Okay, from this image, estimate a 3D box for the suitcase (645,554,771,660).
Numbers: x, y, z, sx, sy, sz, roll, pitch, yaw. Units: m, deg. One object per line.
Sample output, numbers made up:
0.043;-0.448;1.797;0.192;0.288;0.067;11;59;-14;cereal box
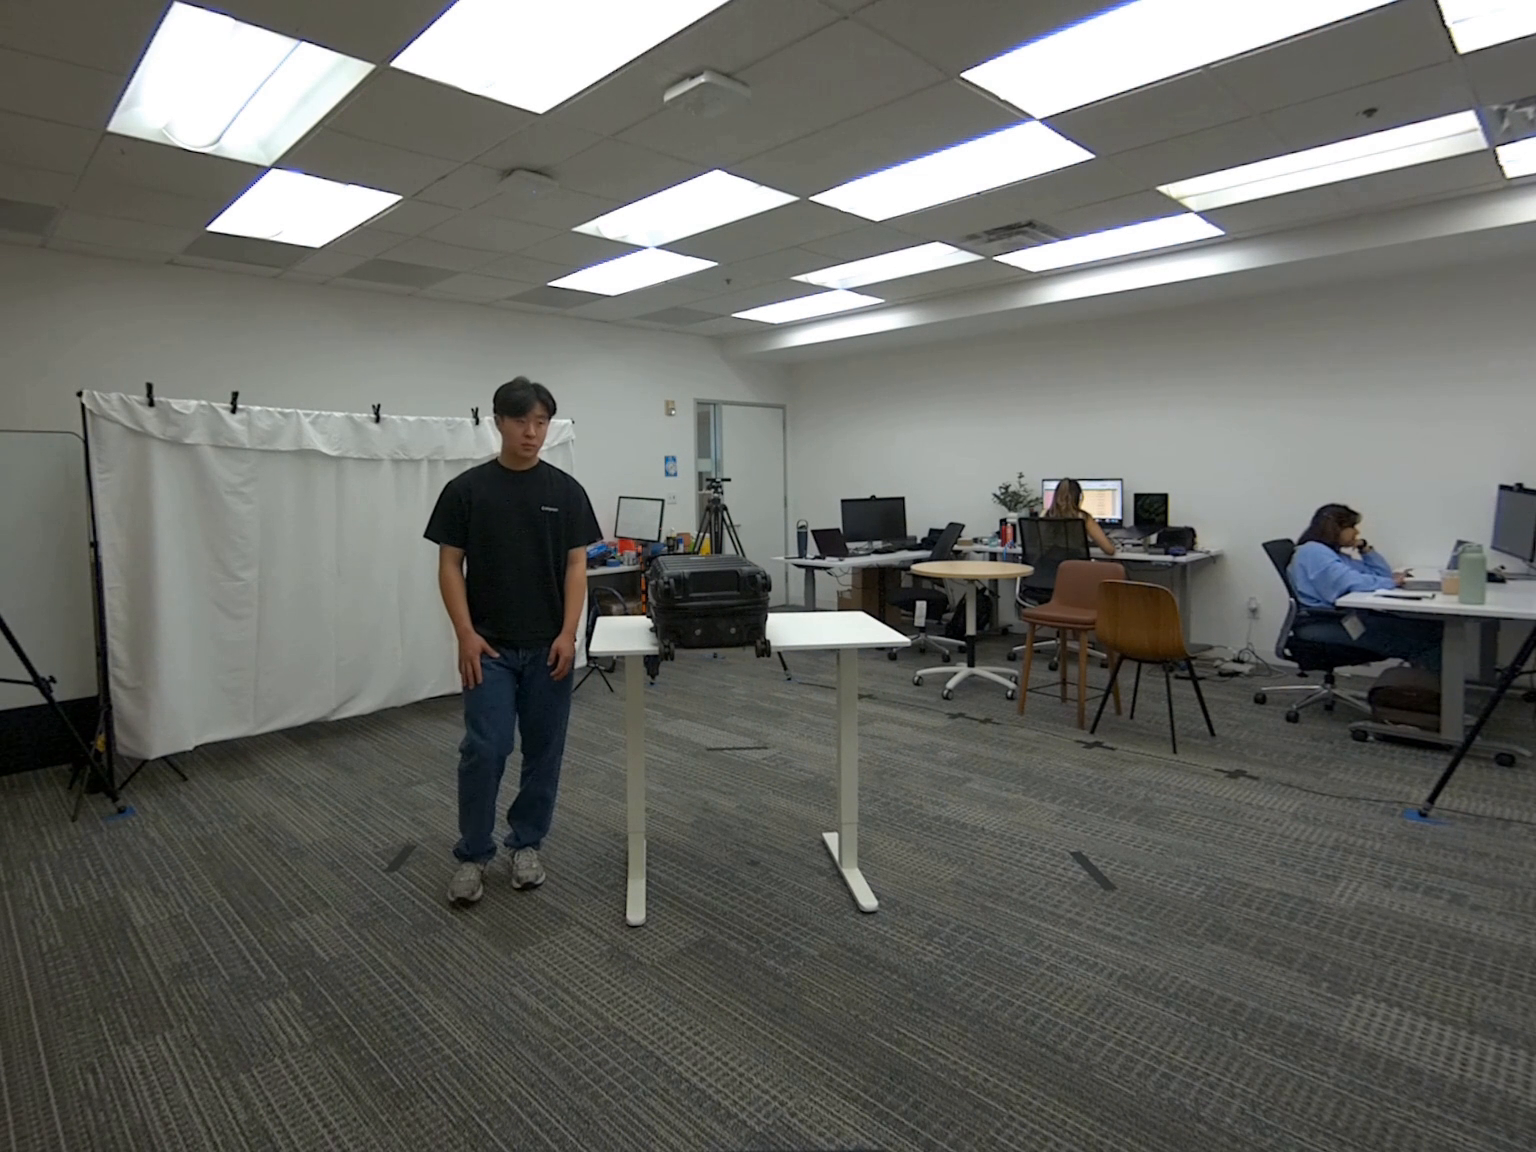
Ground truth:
-0.240;0.053;2.992;0.381;0.255;0.993;-2;9;-10;suitcase
